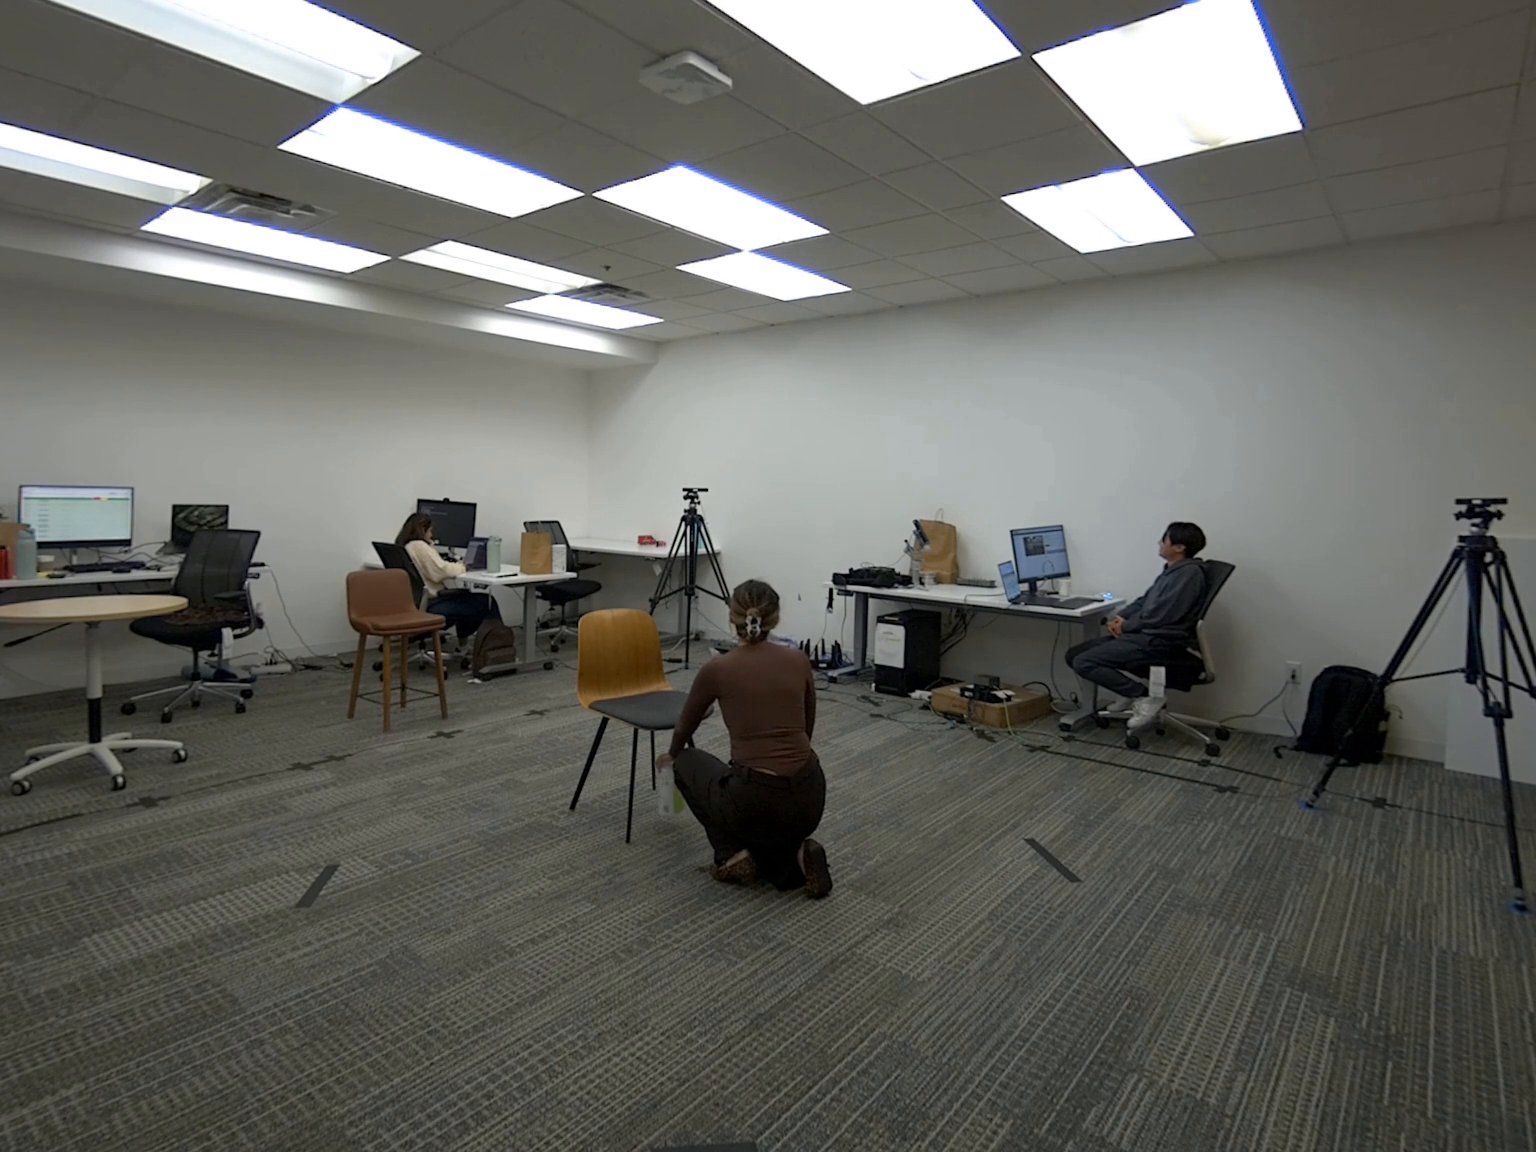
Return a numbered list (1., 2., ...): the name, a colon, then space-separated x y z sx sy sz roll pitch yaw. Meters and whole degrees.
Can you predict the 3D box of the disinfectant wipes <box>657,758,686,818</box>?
1. disinfectant wipes: -0.408 0.871 3.474 0.118 0.216 0.119 0 9 -2
